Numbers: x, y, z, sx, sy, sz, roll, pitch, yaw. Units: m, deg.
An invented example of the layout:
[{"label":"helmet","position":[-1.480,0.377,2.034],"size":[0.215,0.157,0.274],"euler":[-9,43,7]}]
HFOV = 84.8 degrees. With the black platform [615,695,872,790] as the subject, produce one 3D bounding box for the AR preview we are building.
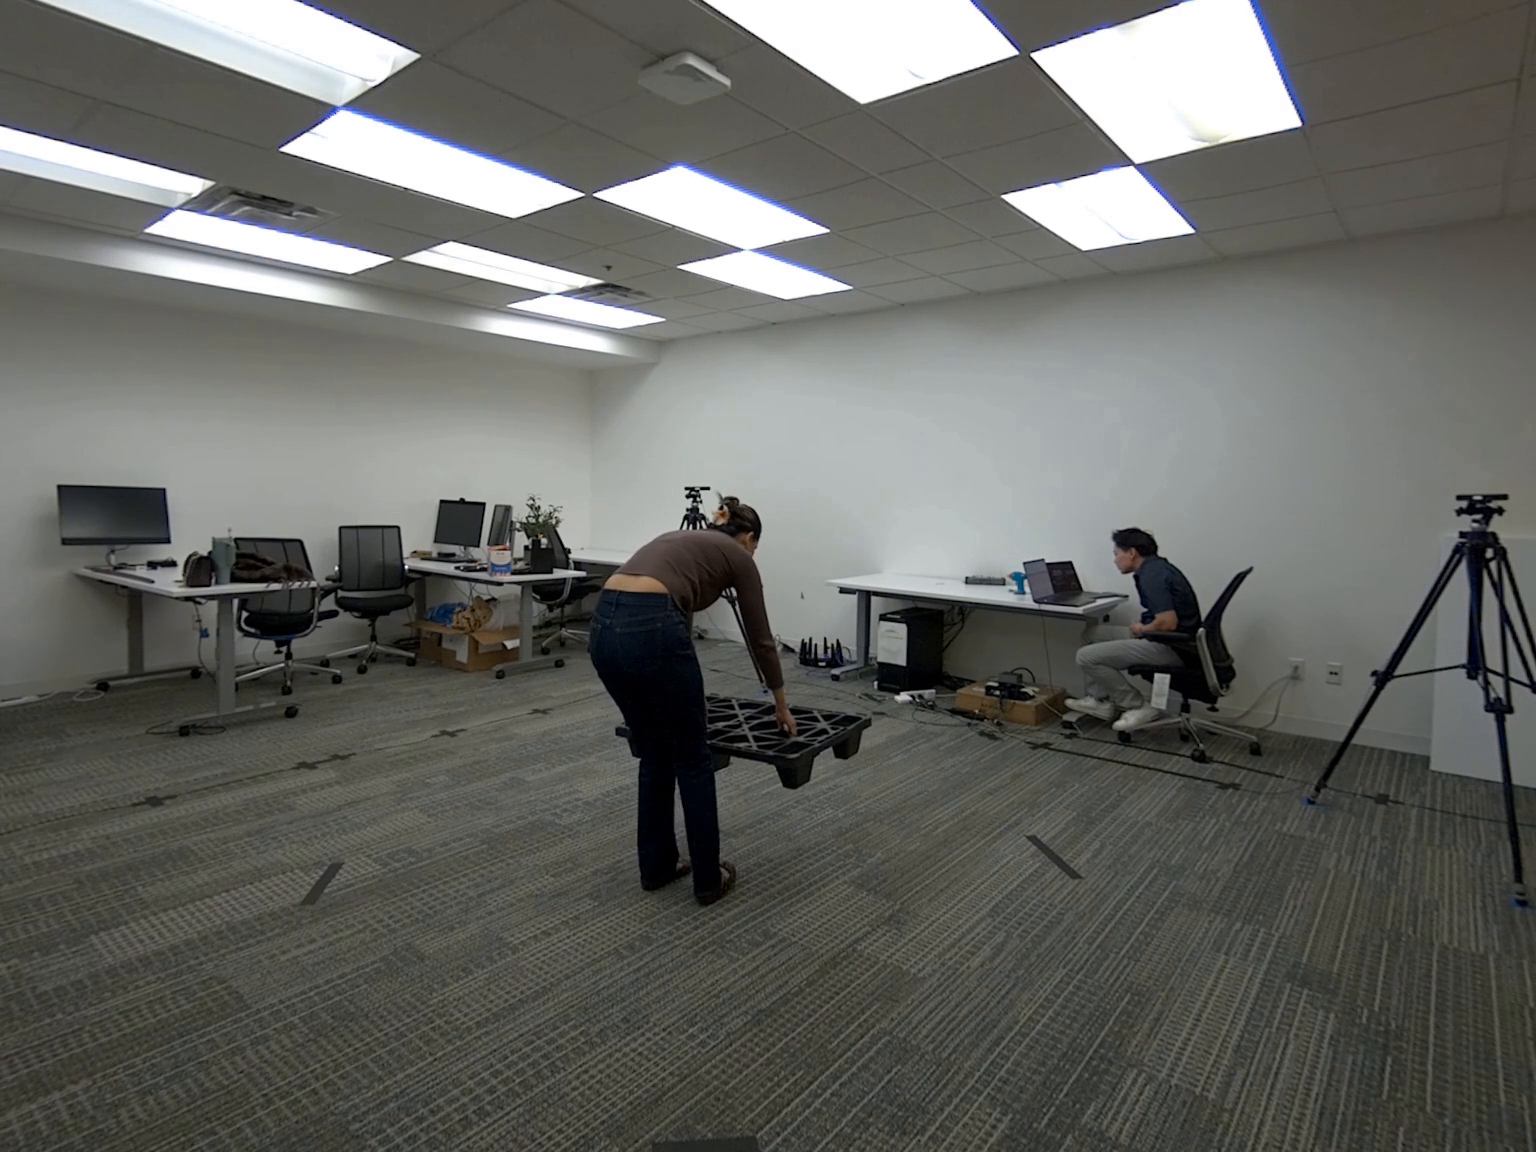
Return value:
[{"label":"black platform","position":[-0.098,0.618,3.239],"size":[0.830,0.143,0.589],"euler":[1,7,35]}]
